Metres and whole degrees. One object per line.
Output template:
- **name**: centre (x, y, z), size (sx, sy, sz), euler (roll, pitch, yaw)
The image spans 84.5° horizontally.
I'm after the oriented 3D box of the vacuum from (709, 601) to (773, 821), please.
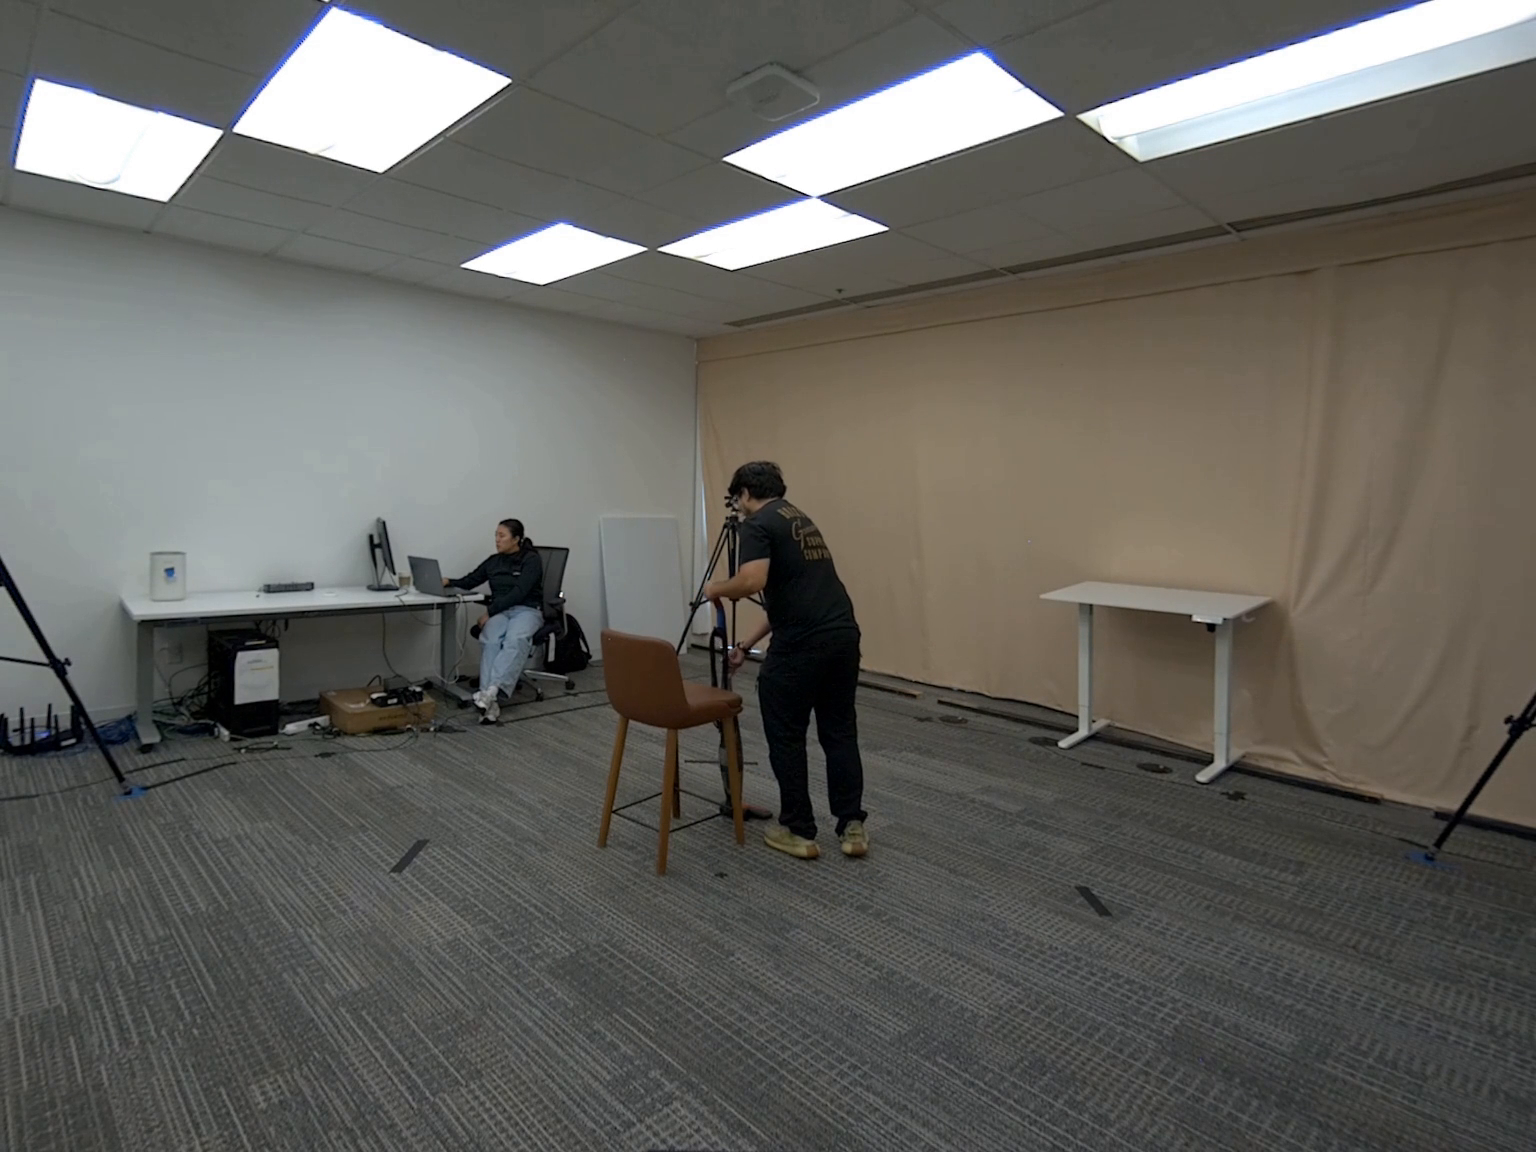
- **vacuum**: centre (-0.188, 0.559, 3.565), size (0.258, 1.036, 0.142), euler (1, 17, 32)
